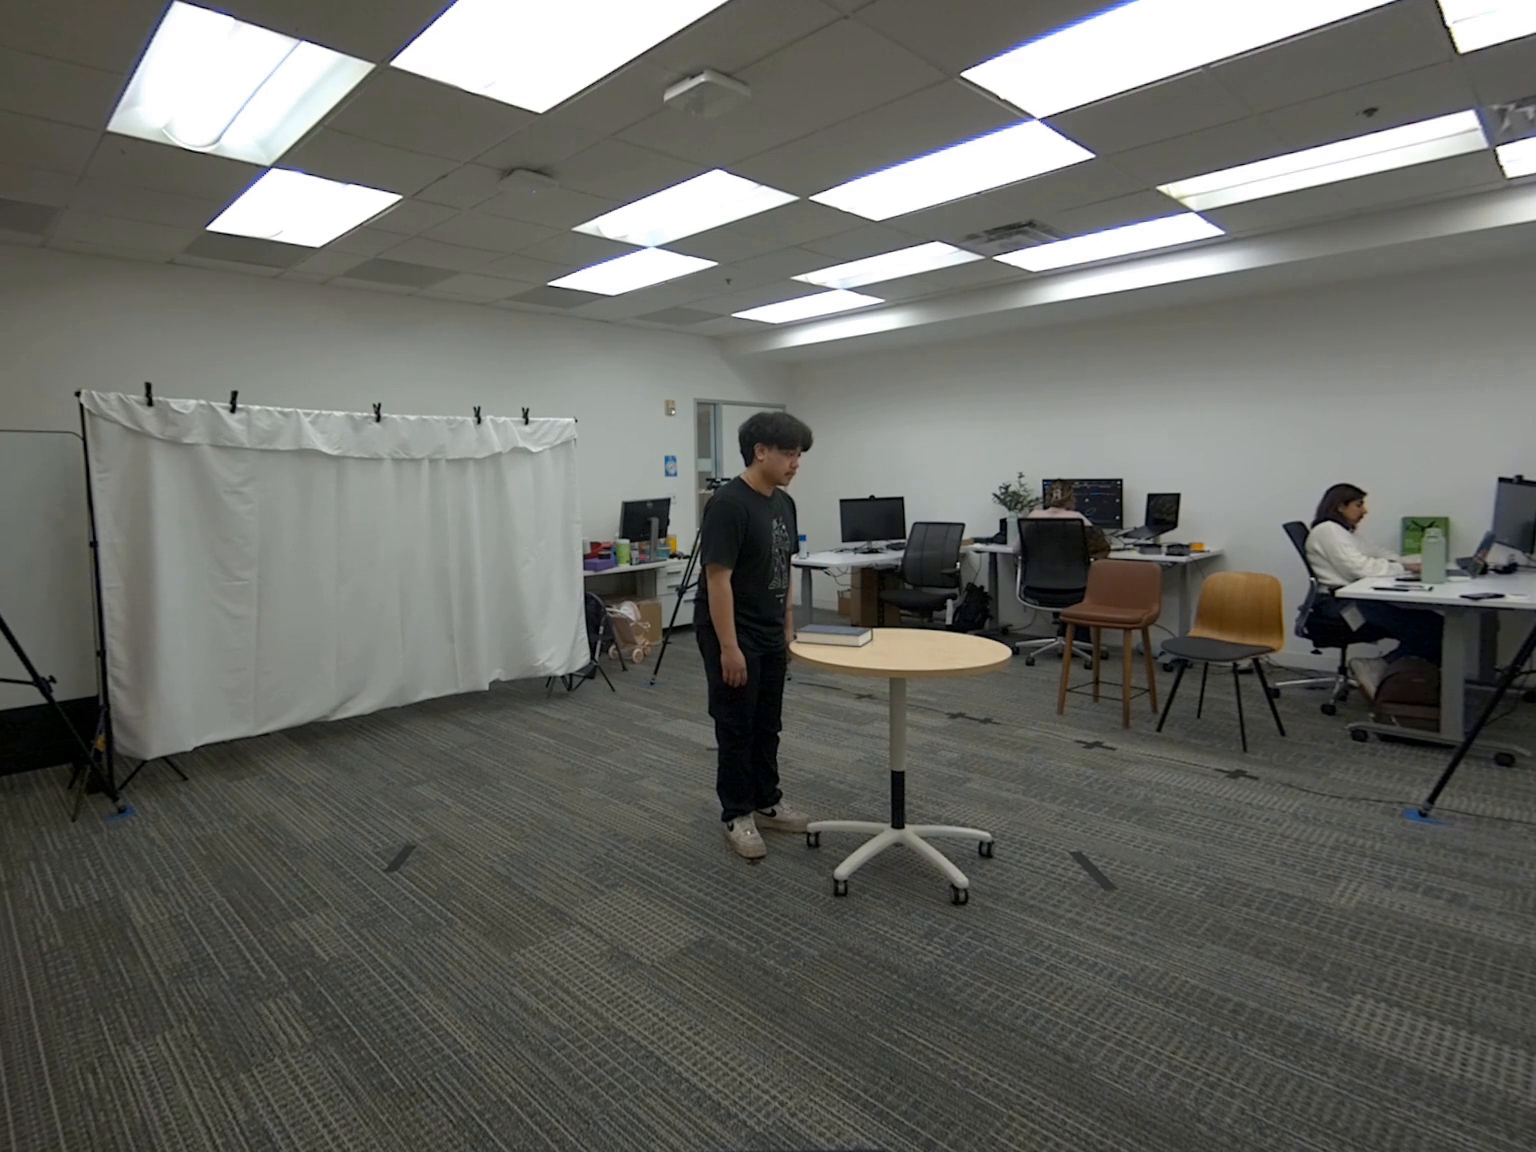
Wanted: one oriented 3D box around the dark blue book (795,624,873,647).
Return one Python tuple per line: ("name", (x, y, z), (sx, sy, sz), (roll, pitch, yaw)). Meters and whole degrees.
("dark blue book", (0.249, 0.220, 3.133), (0.251, 0.045, 0.160), (2, 7, 24))
